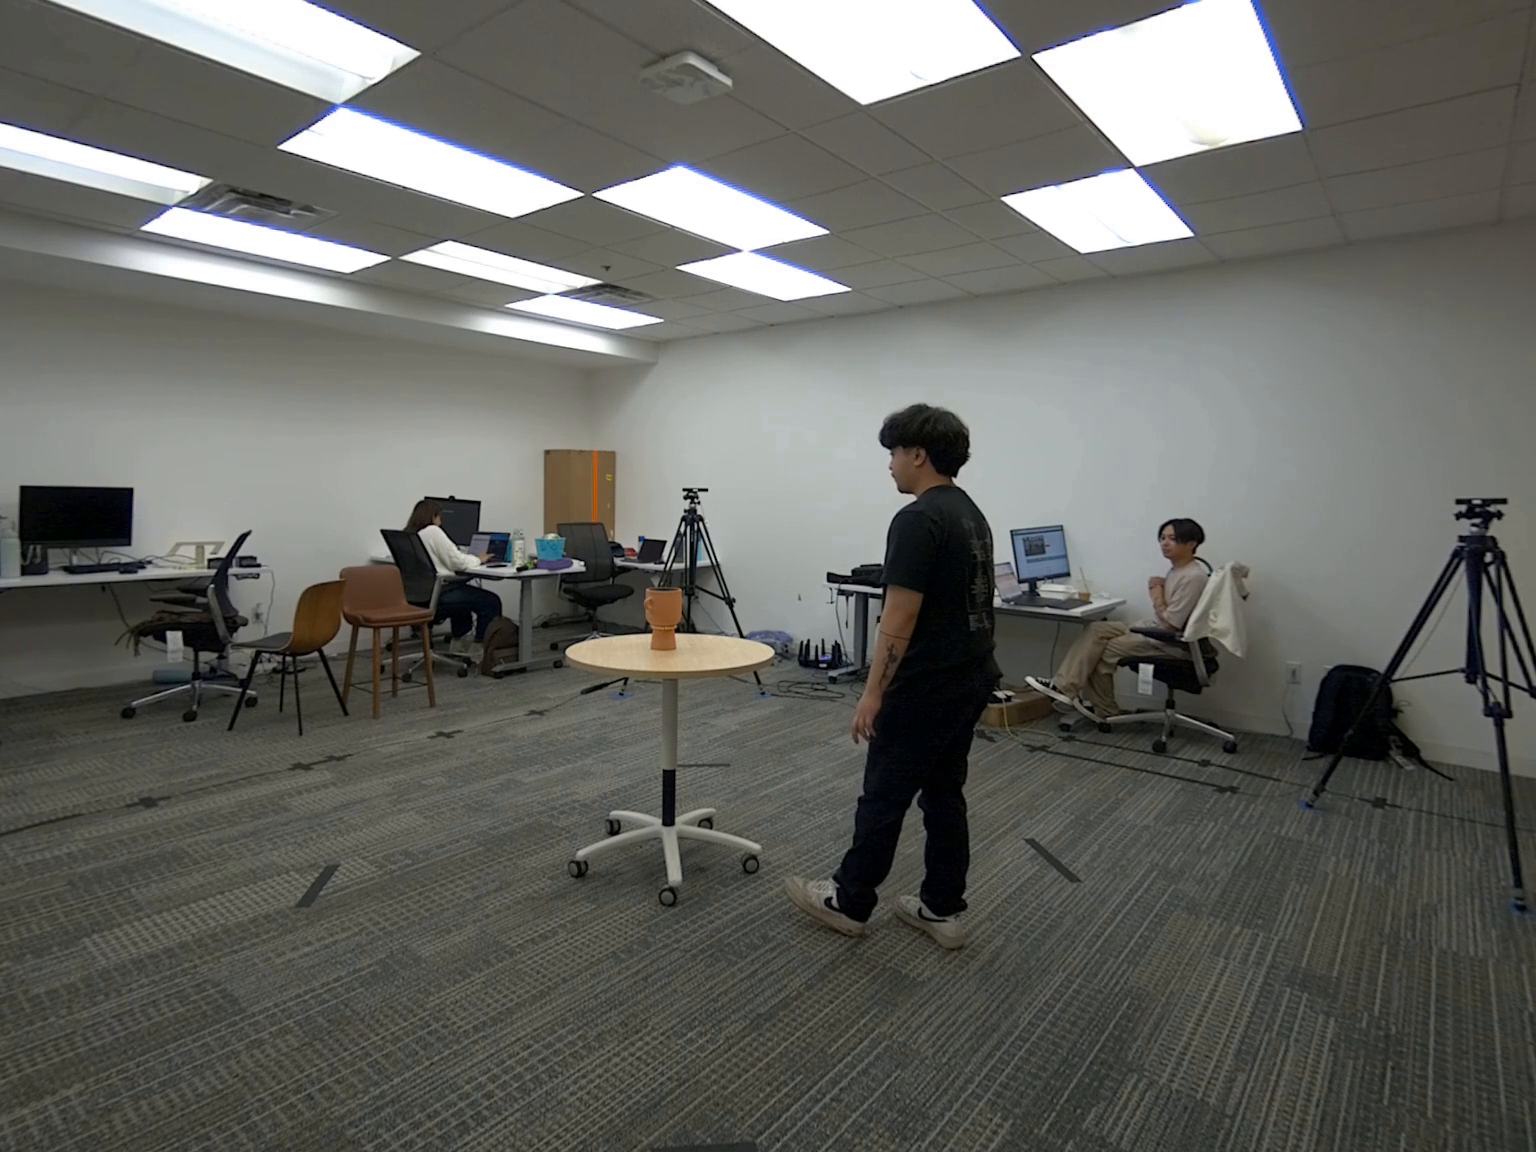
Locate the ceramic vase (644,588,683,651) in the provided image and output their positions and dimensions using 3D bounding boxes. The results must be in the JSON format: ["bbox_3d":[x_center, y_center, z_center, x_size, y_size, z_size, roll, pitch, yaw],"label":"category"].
[{"bbox_3d":[-0.400,0.159,3.173,0.157,0.219,0.137,-1,3,-12],"label":"ceramic vase"}]
